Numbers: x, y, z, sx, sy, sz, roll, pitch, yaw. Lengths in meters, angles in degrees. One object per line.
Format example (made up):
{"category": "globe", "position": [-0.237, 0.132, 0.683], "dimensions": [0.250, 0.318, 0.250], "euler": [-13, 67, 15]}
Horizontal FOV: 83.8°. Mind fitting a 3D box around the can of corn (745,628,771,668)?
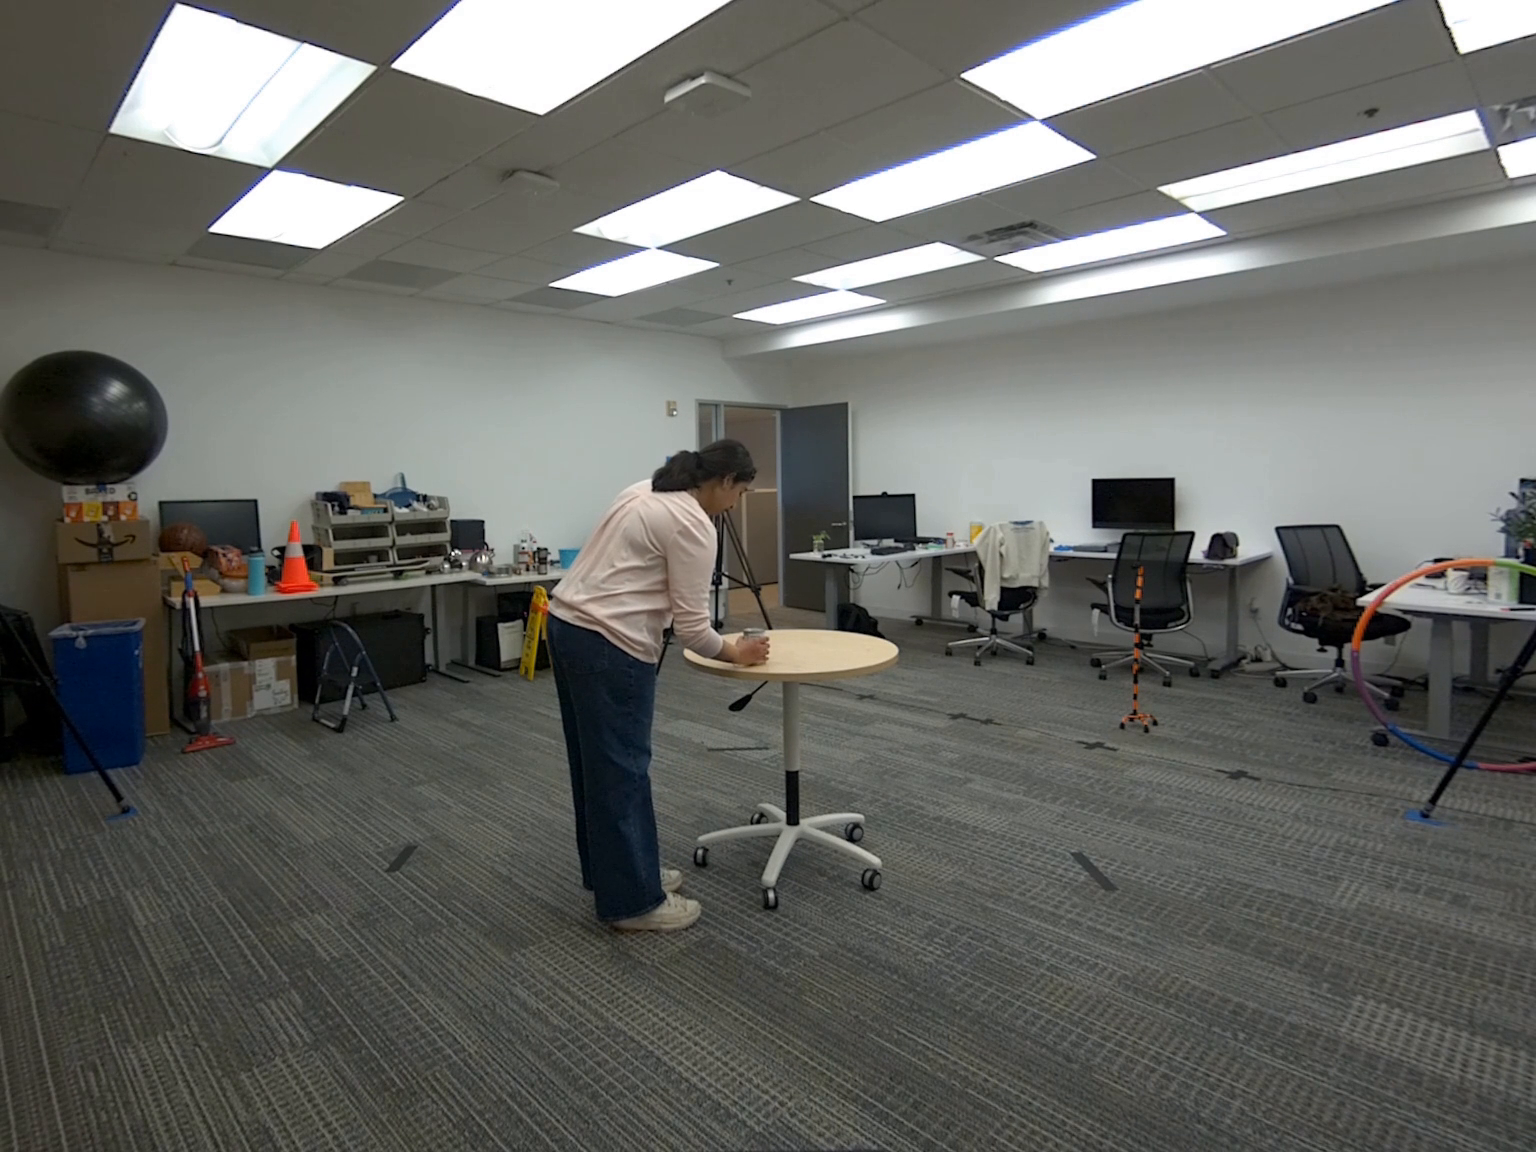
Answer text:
{"category": "can of corn", "position": [-0.035, 0.236, 2.841], "dimensions": [0.074, 0.110, 0.075], "euler": [-2, 9, -1]}
